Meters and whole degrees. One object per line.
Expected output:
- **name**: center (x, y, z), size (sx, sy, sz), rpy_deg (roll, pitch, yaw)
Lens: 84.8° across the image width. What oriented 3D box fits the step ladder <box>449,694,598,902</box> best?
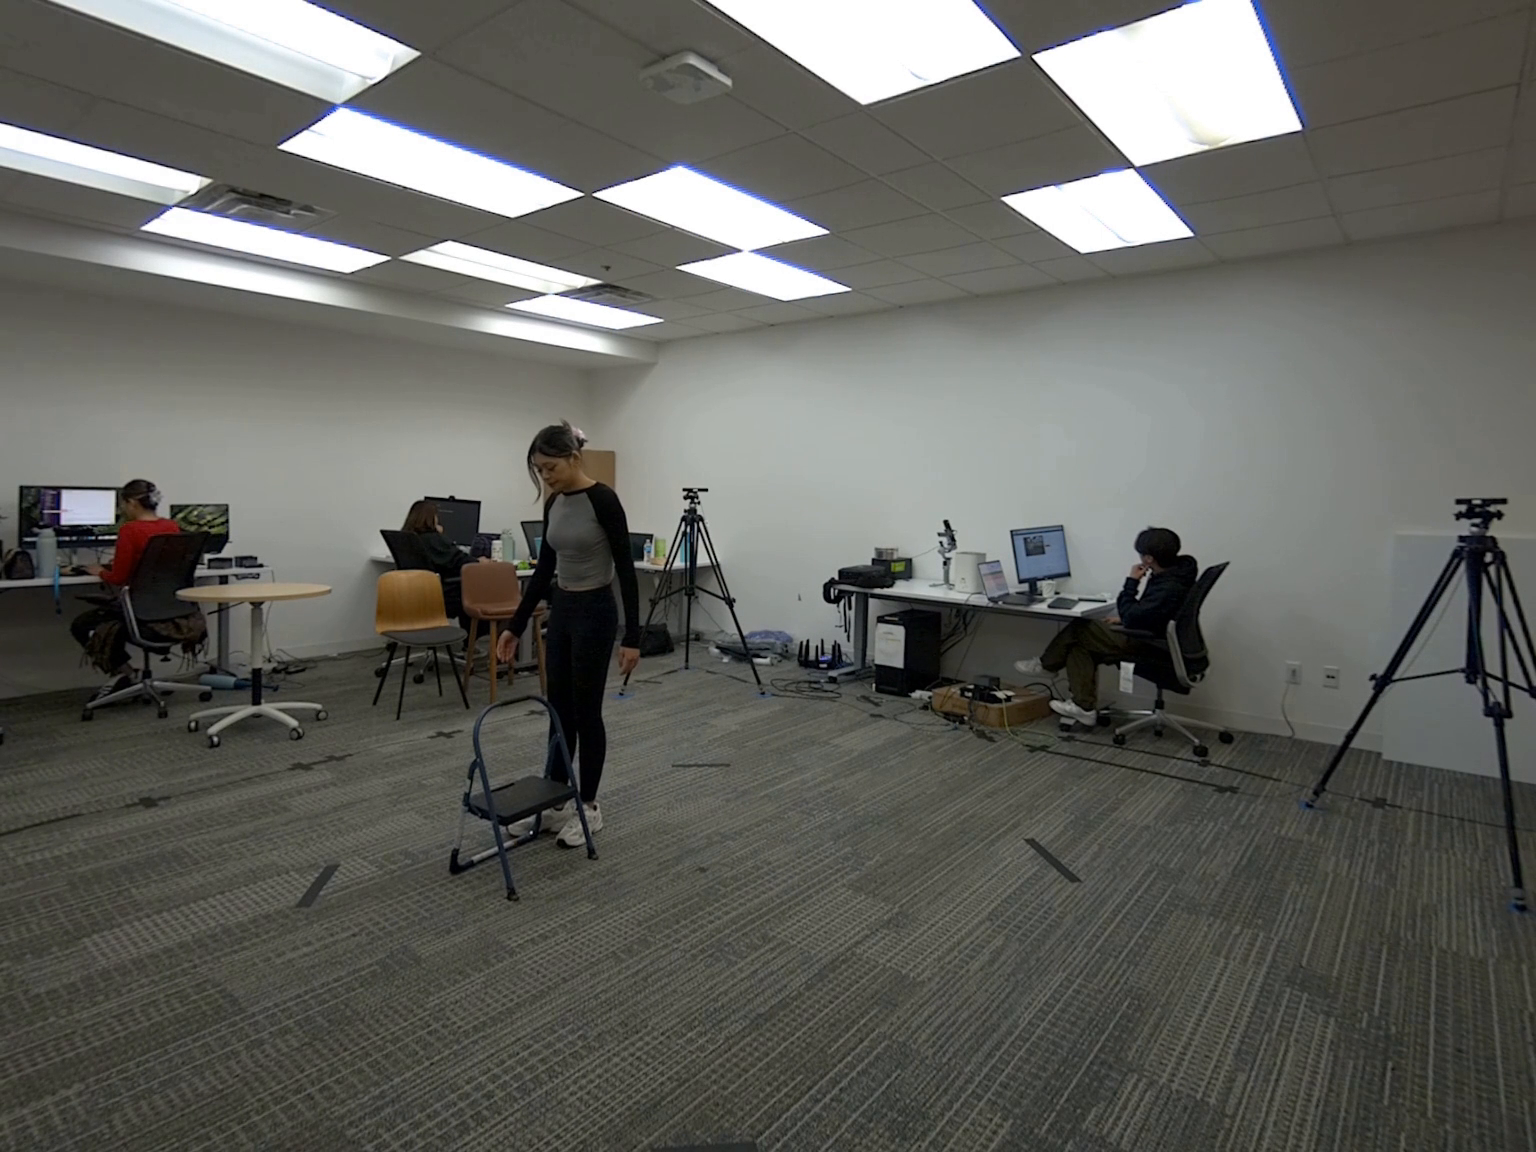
- **step ladder**: center (-0.896, 0.759, 3.097), size (0.360, 0.605, 0.419), rpy_deg (3, 3, 32)
